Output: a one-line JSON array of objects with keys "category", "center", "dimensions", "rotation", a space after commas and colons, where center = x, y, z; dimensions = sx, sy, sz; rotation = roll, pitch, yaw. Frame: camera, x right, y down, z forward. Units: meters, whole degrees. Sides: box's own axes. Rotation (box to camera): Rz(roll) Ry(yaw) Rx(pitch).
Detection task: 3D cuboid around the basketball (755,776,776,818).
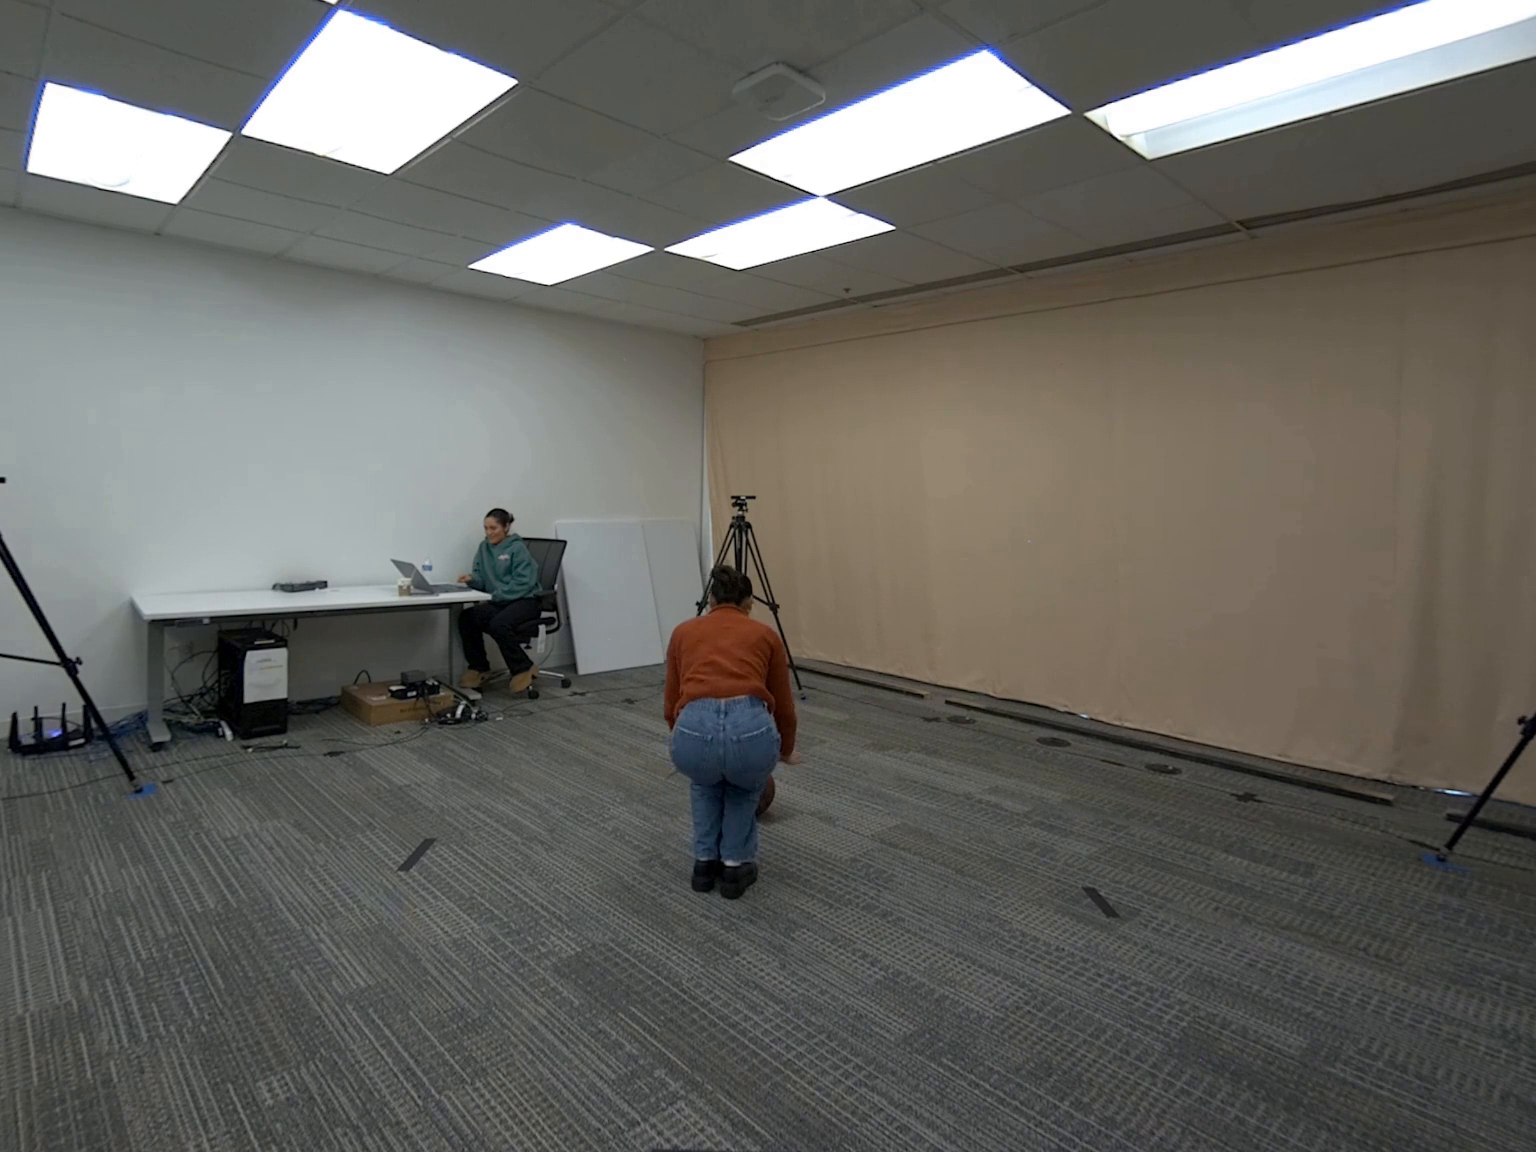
[{"category": "basketball", "center": [-0.092, 0.933, 3.697], "dimensions": [0.236, 0.235, 0.237], "rotation": [1, 4, -1]}]
